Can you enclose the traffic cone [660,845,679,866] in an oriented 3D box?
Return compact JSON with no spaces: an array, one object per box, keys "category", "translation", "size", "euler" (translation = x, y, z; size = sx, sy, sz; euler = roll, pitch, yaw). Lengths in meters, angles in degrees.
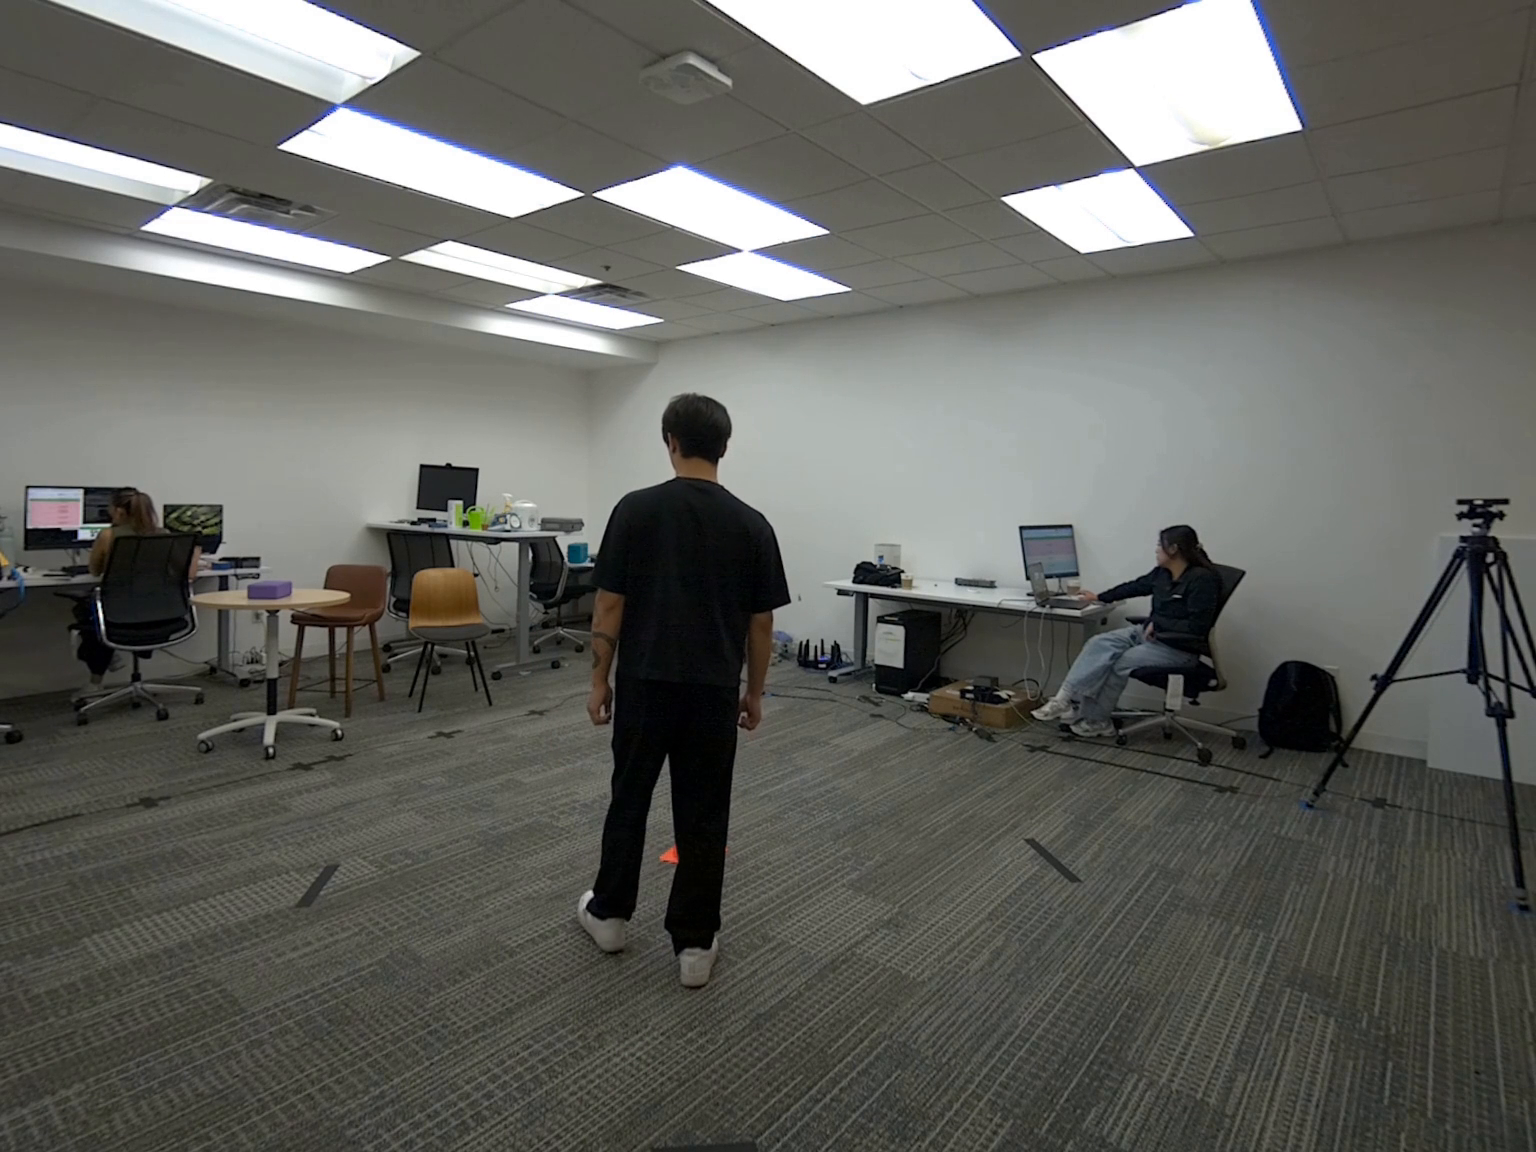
[{"category":"traffic cone","translation":[-0.284,0.872,3.217],"size":[0.210,0.382,0.199],"euler":[4,4,24]}]
